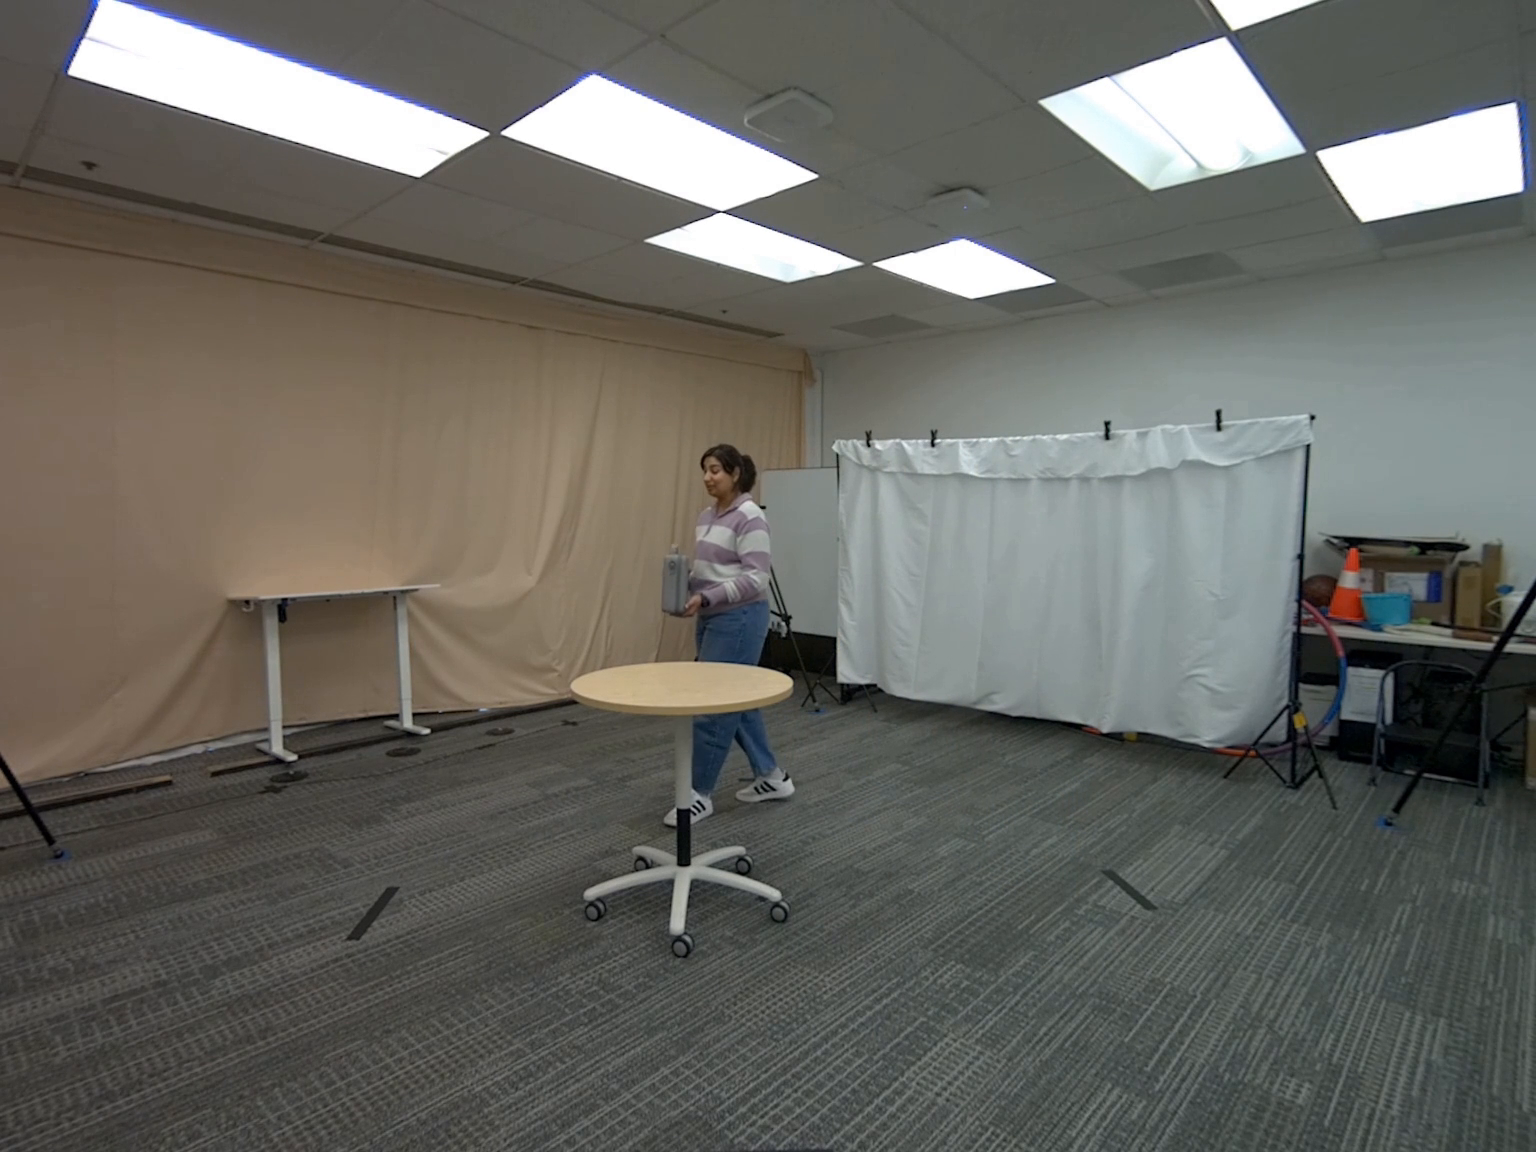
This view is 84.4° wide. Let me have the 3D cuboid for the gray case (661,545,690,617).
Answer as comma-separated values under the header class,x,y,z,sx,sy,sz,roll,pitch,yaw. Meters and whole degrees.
class,x,y,z,sx,sy,sz,roll,pitch,yaw
gray case,-0.410,0.029,3.655,0.104,0.261,0.257,1,-2,-5
